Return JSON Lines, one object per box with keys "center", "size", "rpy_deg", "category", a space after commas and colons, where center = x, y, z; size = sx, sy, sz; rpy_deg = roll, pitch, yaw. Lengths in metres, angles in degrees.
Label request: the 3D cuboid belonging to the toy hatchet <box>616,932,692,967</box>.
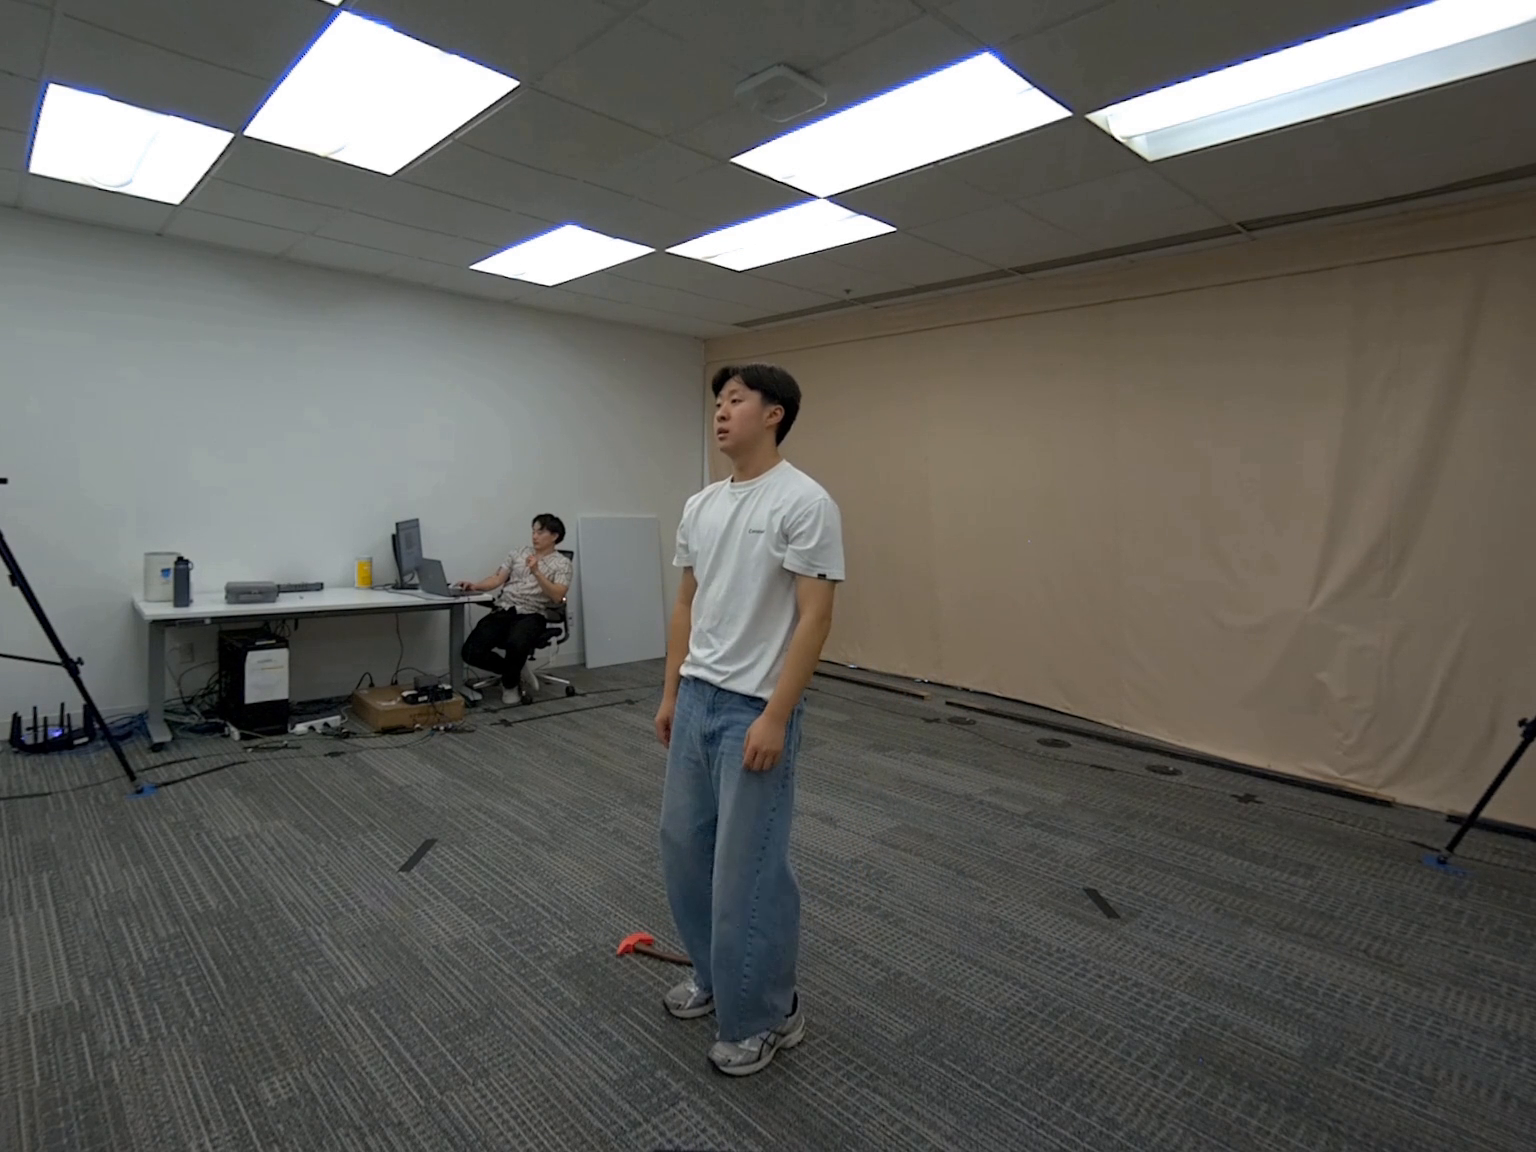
{"center": [-0.324, 1.142, 2.569], "size": [0.272, 0.029, 0.130], "rpy_deg": [4, 6, 10], "category": "toy hatchet"}
